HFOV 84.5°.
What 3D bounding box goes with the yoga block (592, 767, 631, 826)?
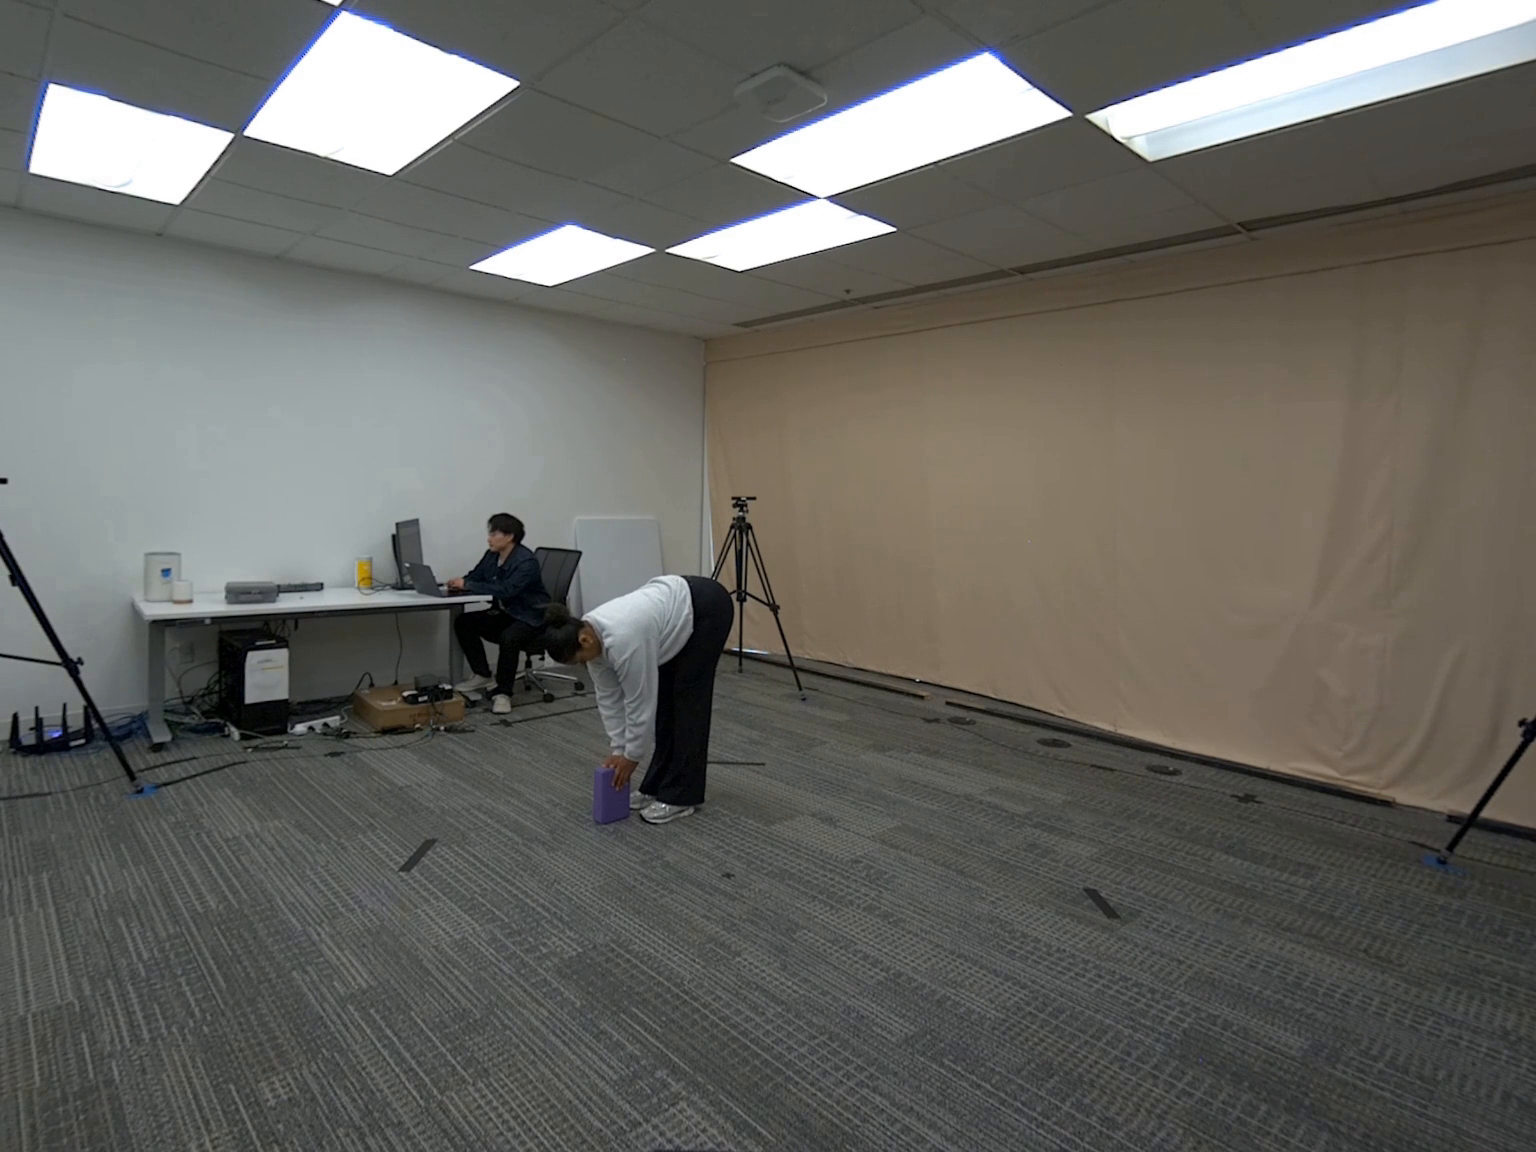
[{"bbox_3d":[-0.680,0.933,3.620,0.145,0.229,0.078,-2,4,-45],"label":"yoga block"}]
